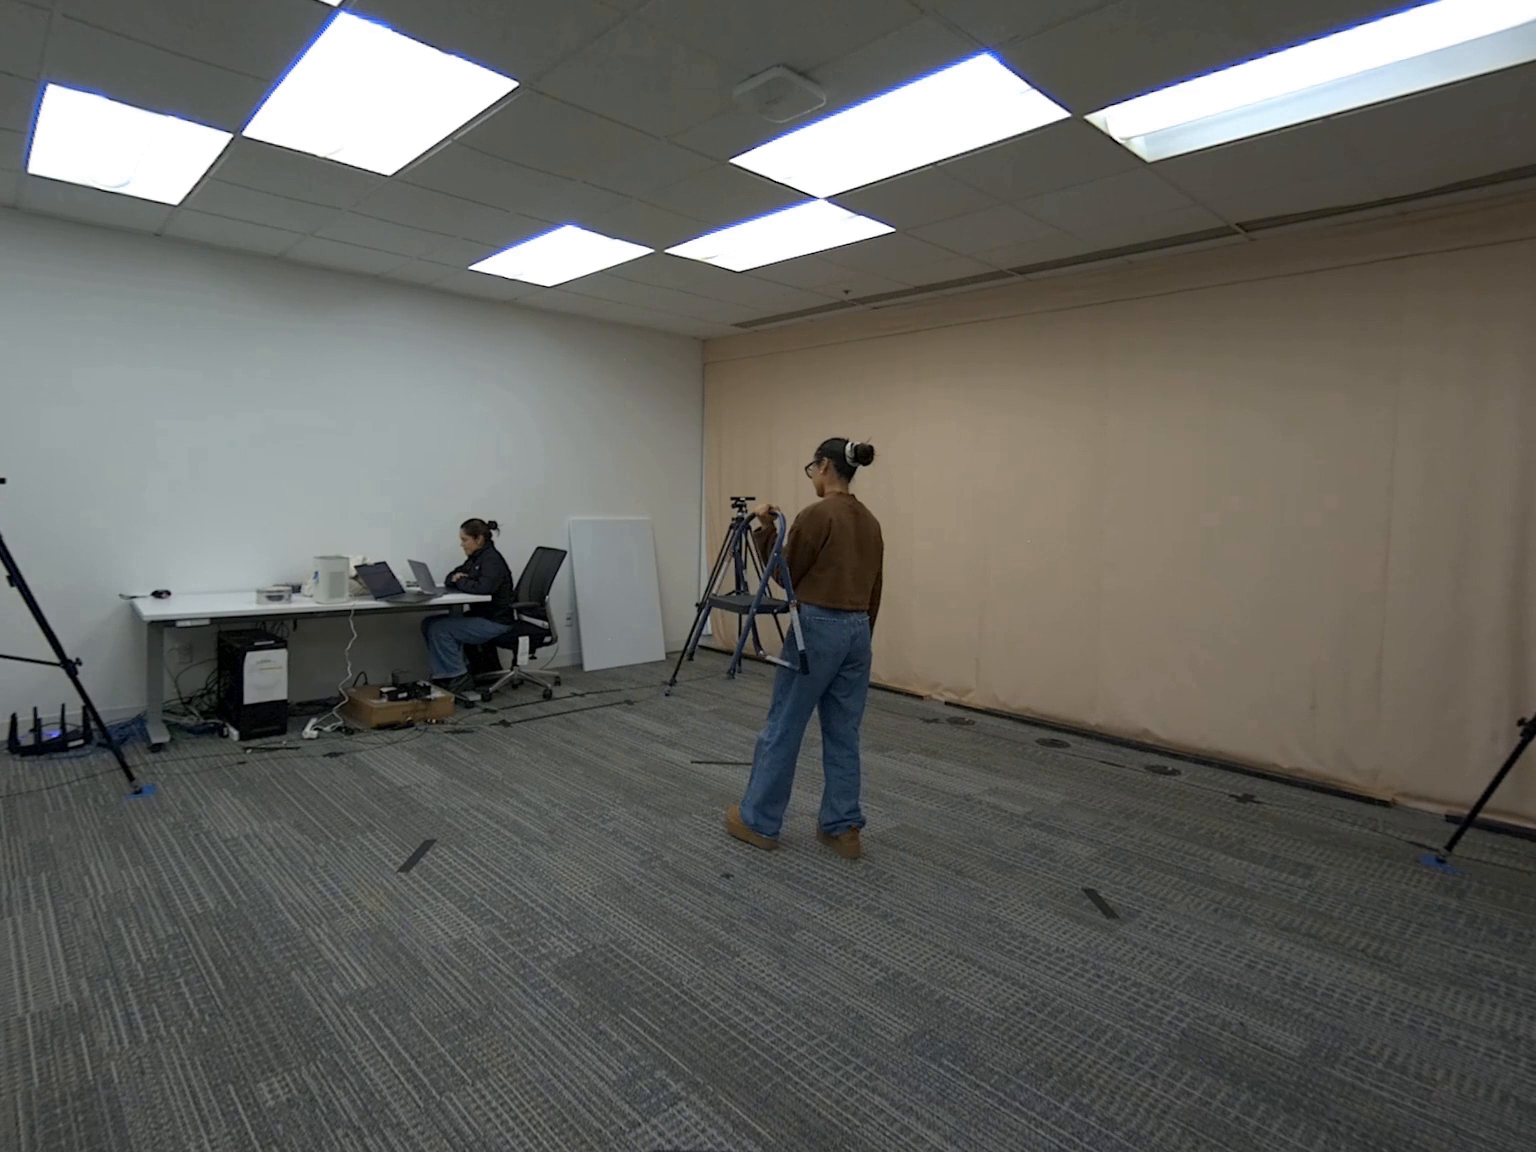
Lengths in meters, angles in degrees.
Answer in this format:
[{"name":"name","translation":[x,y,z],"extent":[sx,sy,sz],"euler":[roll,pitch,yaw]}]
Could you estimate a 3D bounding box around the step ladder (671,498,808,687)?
[{"name":"step ladder","translation":[-0.085,0.047,3.203],"extent":[0.343,0.605,0.439],"euler":[1,2,-26]}]
